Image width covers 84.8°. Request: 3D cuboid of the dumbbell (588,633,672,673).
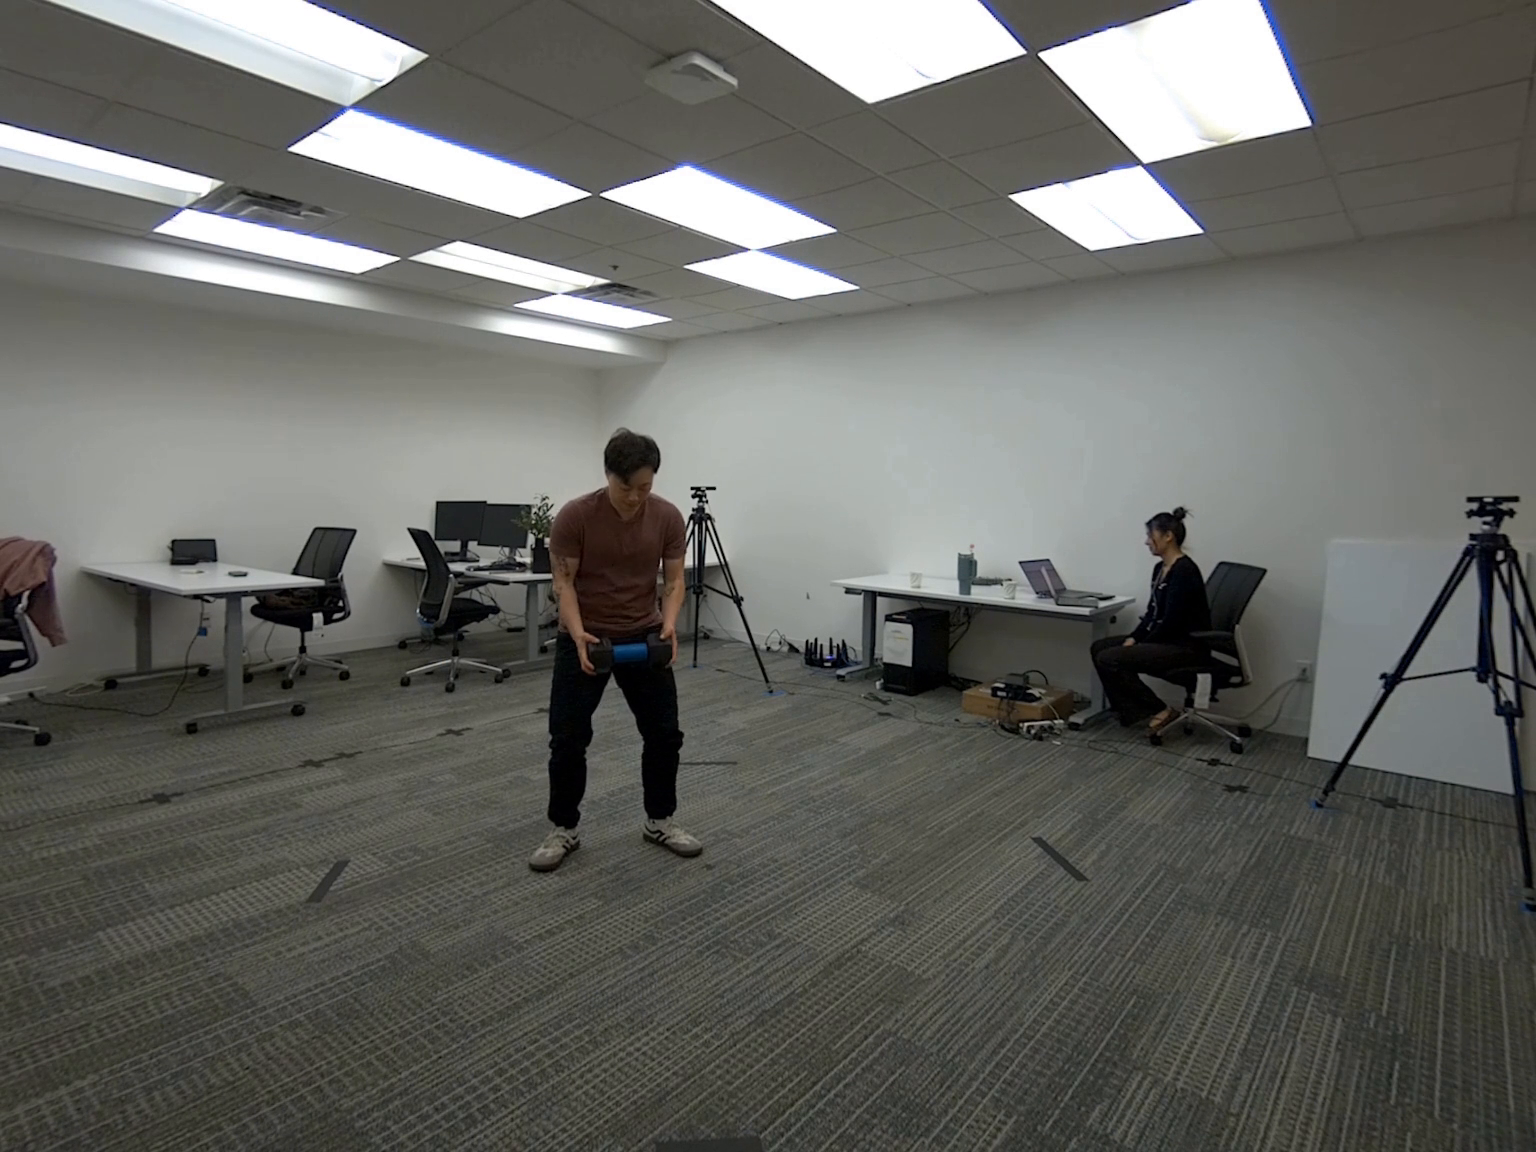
[{"bbox_3d":[-0.516,0.272,2.998,0.291,0.121,0.111,-4,14,-8],"label":"dumbbell"}]
